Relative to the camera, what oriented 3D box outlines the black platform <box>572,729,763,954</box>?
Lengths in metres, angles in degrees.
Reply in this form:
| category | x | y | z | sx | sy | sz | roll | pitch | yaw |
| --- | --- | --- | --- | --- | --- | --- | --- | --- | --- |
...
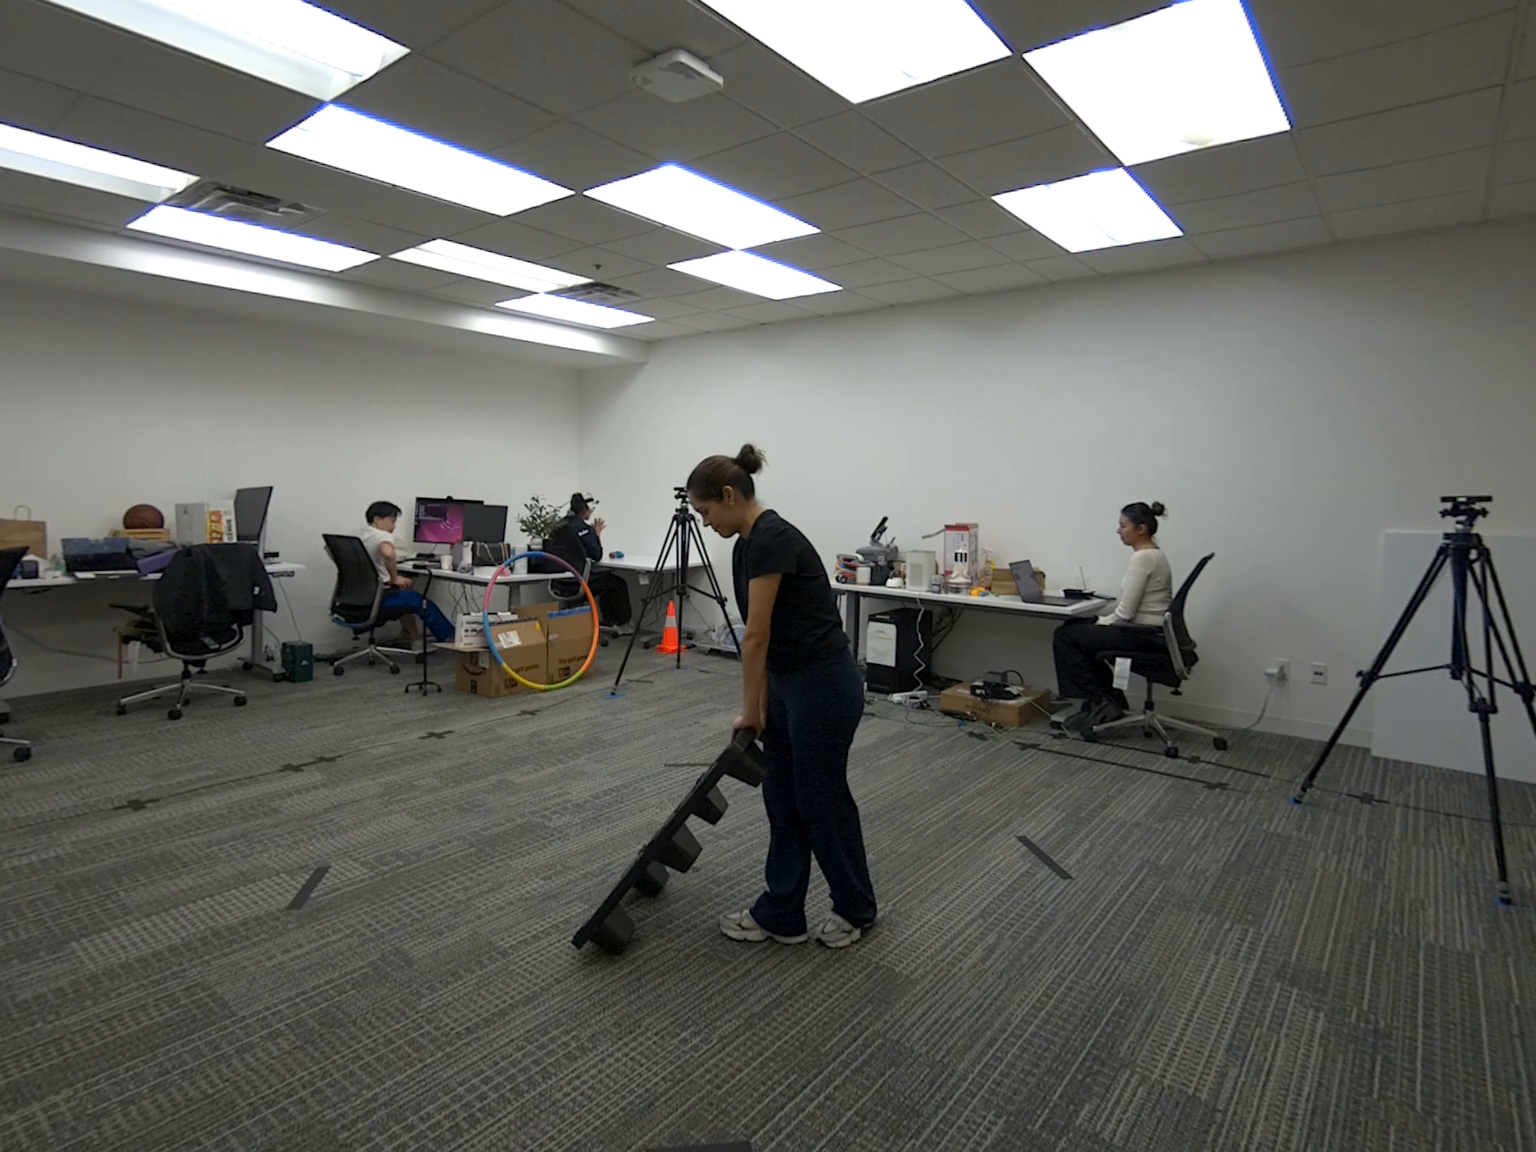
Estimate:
| category | x | y | z | sx | sy | sz | roll | pitch | yaw |
| --- | --- | --- | --- | --- | --- | --- | --- | --- | --- |
| black platform | -0.228 | 0.779 | 2.703 | 0.145 | 0.804 | 0.599 | 39 | 11 | 5 |
